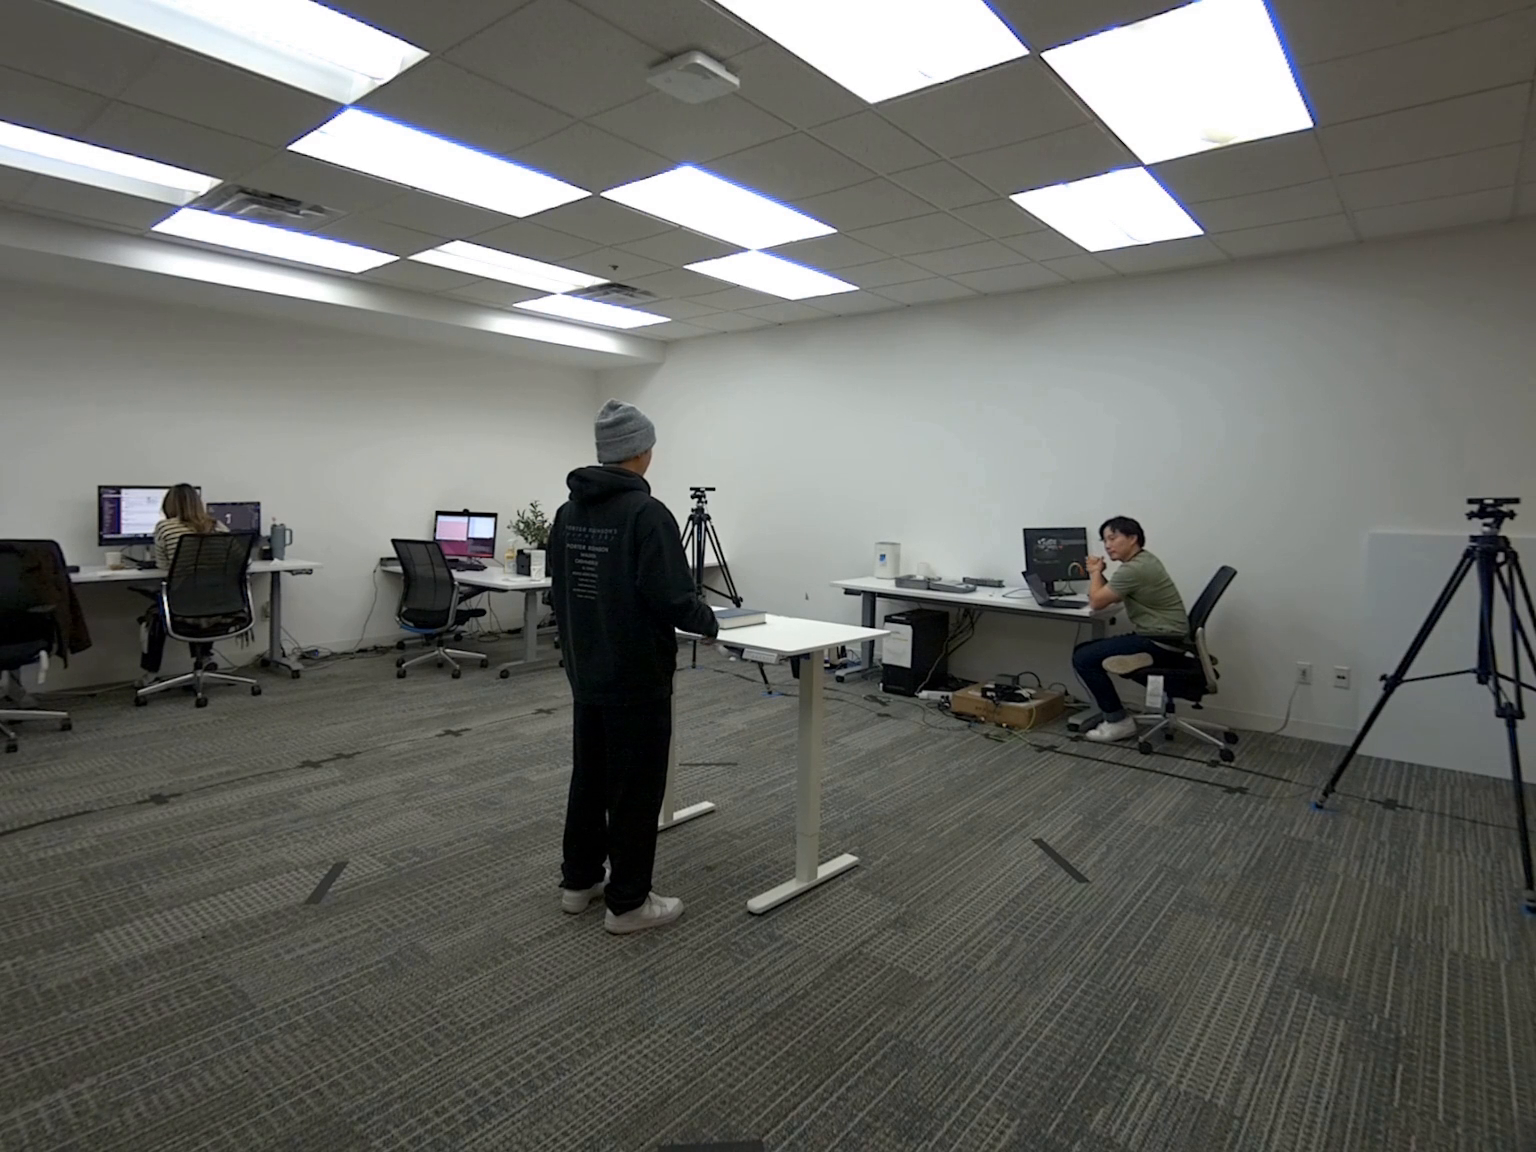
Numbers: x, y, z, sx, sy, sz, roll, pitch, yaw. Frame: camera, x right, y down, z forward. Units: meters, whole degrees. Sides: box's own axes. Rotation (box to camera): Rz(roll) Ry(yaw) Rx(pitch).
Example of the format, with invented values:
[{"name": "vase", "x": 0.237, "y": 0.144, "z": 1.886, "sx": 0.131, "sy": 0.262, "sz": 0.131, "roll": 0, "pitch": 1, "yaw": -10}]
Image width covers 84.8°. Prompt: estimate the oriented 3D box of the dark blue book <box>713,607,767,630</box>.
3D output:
[{"name": "dark blue book", "x": -0.147, "y": 0.157, "z": 3.193, "sx": 0.169, "sy": 0.045, "sz": 0.238, "roll": 5, "pitch": 6, "yaw": 40}]
